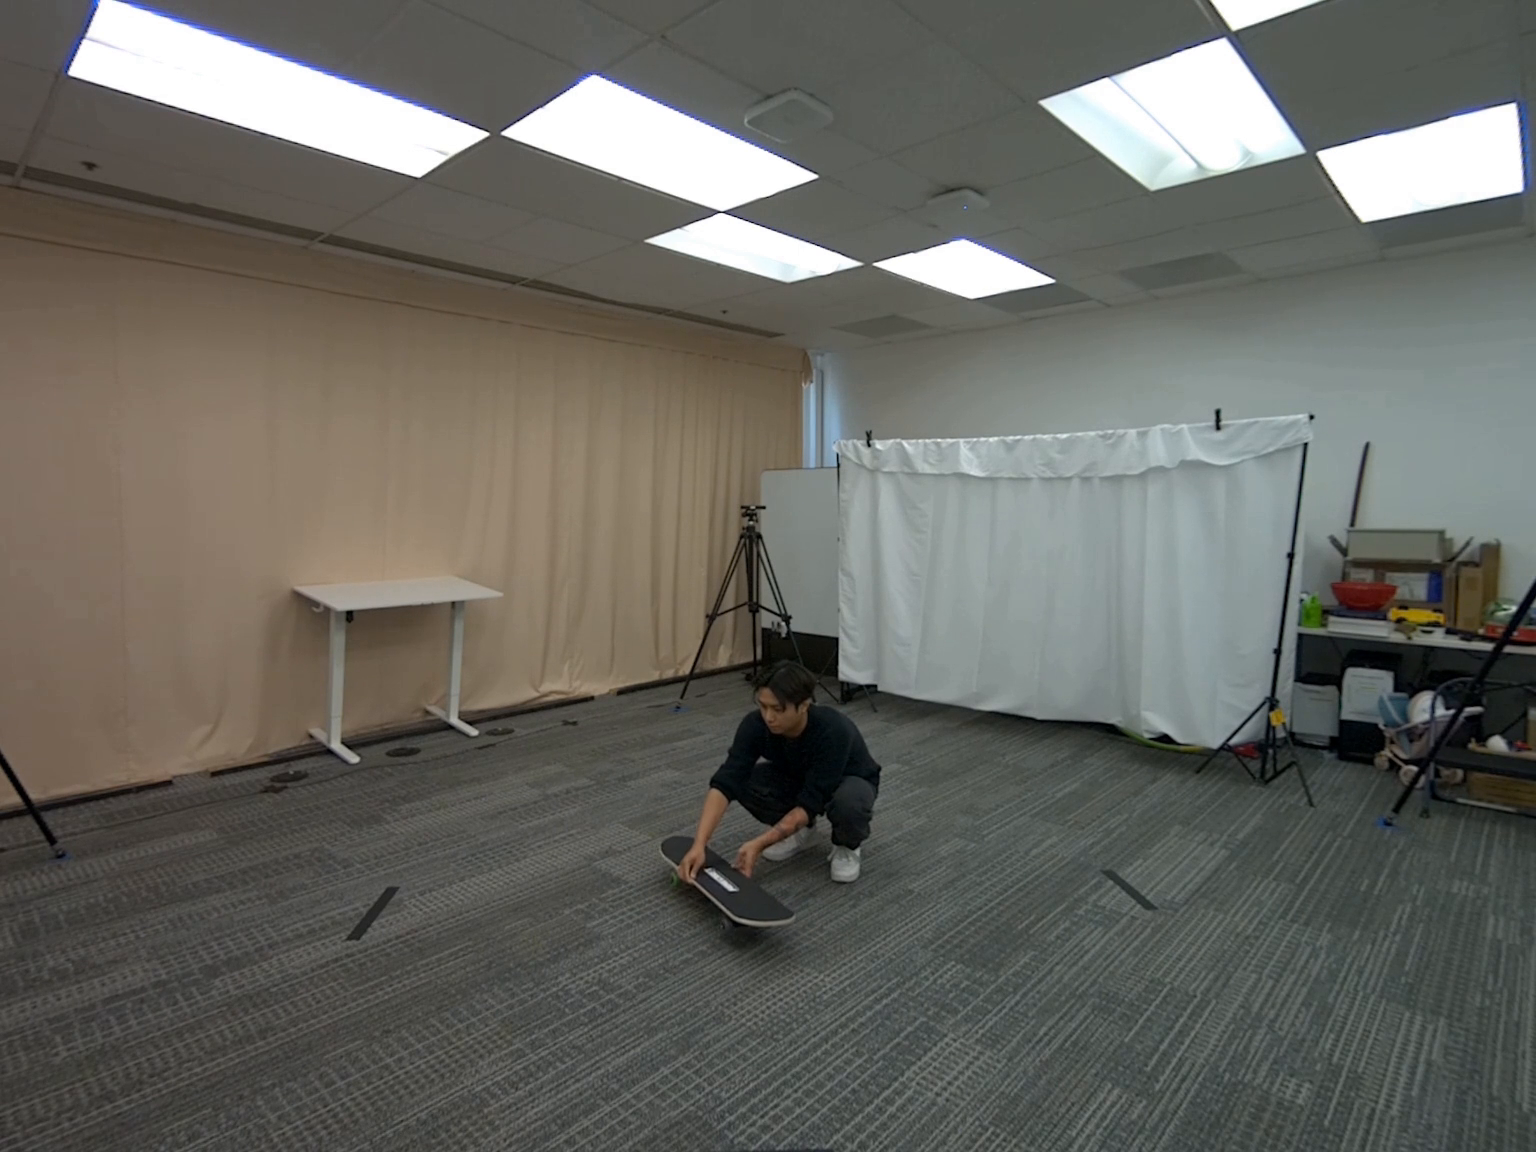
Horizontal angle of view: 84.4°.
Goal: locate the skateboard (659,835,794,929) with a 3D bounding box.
[{"bbox_3d":[-0.159,1.068,2.873,0.188,0.110,0.807,1,2,-29],"label":"skateboard"}]
